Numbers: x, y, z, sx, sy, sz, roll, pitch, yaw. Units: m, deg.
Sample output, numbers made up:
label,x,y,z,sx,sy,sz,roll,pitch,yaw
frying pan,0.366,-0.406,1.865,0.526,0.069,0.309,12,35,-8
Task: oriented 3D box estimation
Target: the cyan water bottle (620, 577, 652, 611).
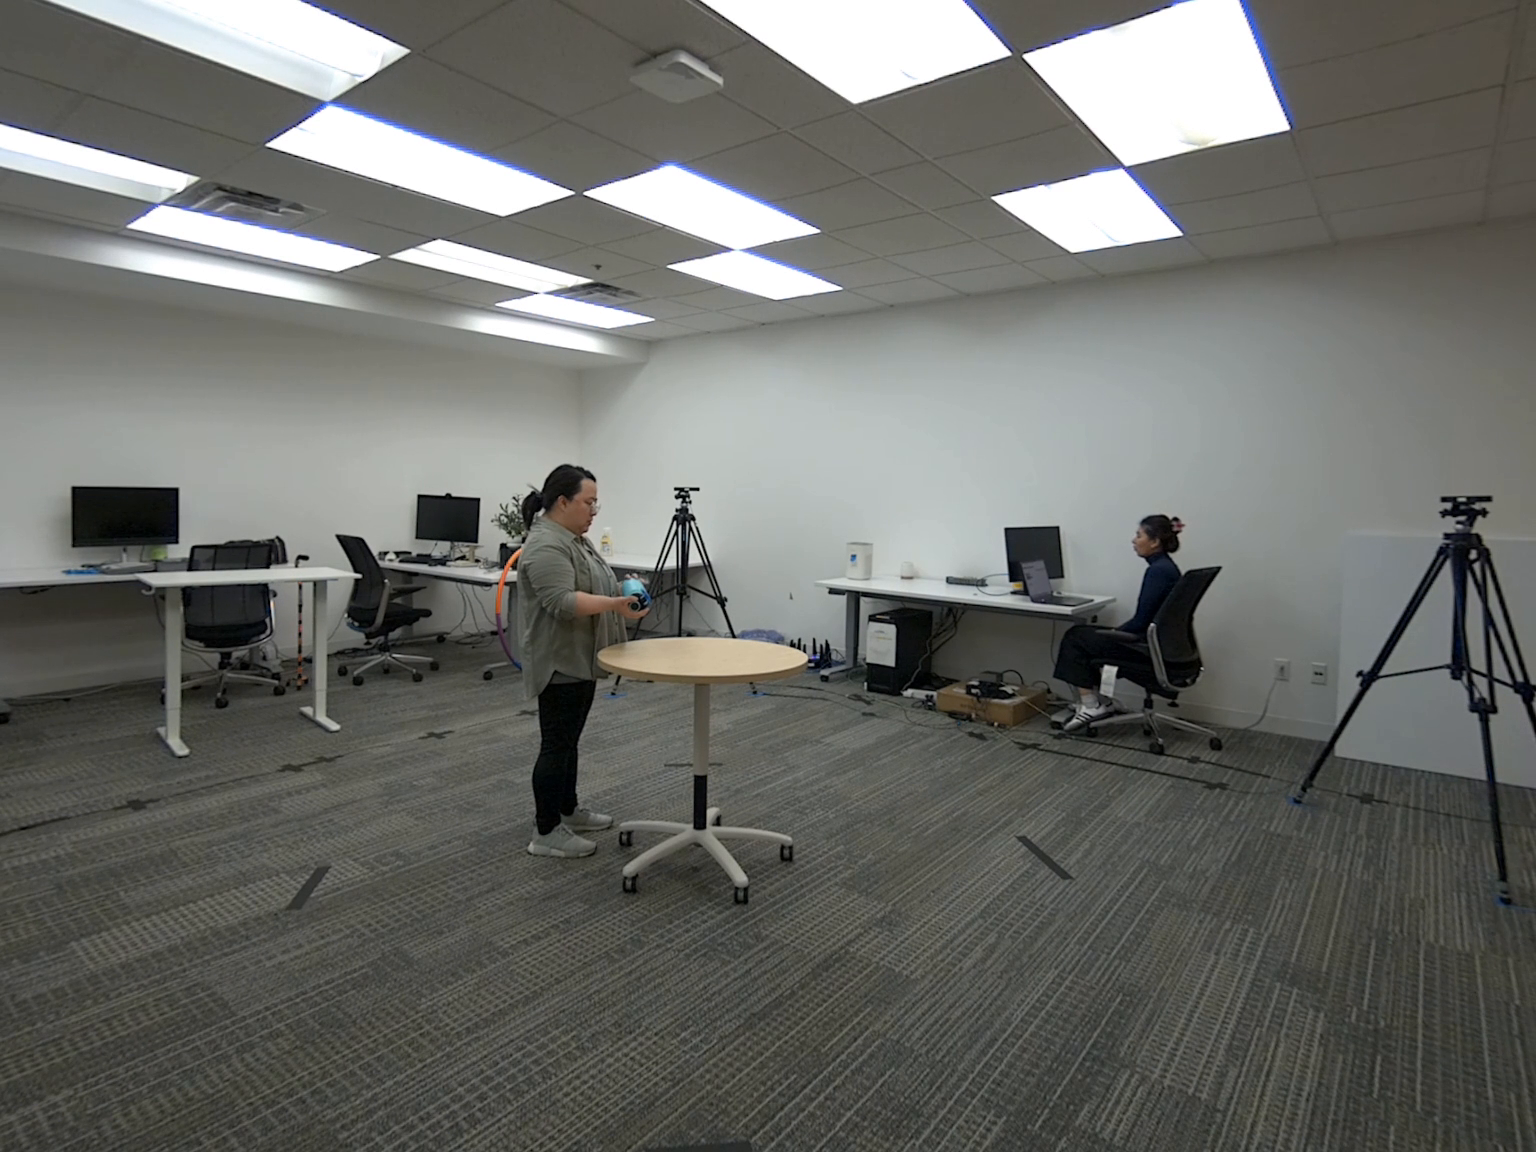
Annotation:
label,x,y,z,sx,sy,sz,roll,pitch,yaw
cyan water bottle,-0.522,0.078,3.260,0.091,0.091,0.290,0,10,-16
